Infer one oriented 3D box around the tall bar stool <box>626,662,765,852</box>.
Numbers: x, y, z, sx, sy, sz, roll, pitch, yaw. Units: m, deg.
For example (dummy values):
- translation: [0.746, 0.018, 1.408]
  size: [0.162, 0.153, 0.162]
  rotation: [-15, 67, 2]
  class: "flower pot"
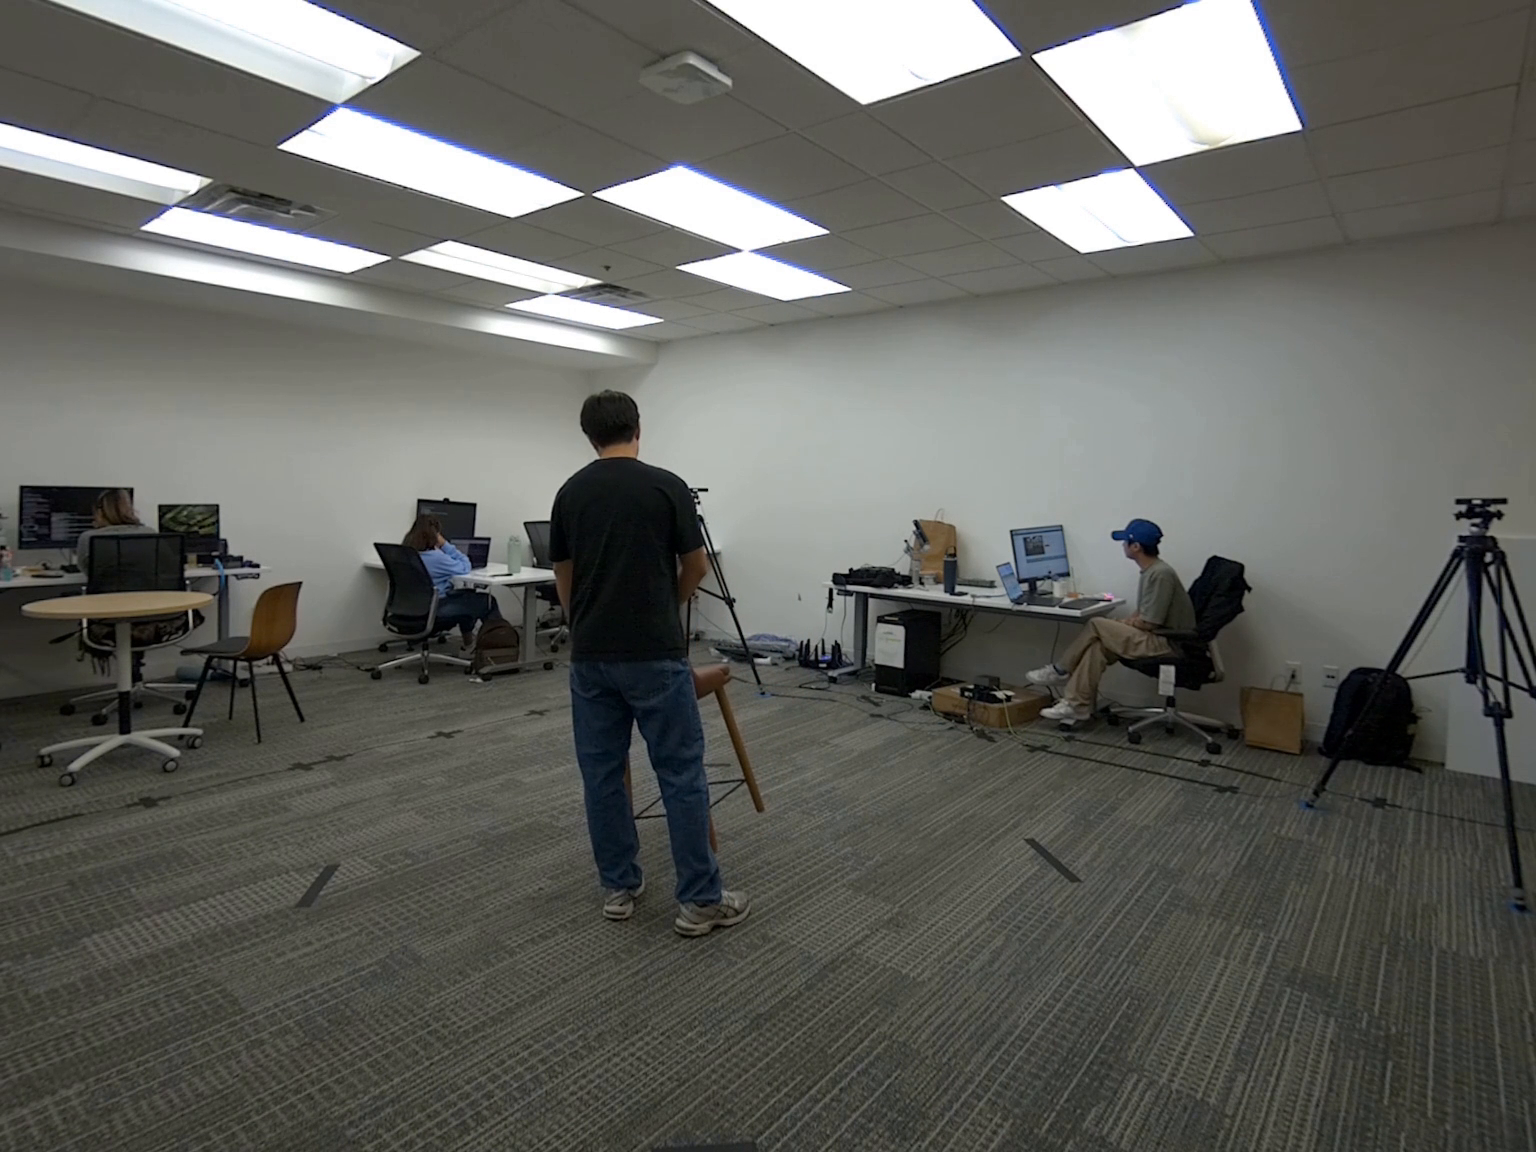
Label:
- translation: [-0.387, 0.575, 3.317]
  size: [0.465, 0.891, 0.458]
  rotation: [-14, -1, 25]
  class: "tall bar stool"
